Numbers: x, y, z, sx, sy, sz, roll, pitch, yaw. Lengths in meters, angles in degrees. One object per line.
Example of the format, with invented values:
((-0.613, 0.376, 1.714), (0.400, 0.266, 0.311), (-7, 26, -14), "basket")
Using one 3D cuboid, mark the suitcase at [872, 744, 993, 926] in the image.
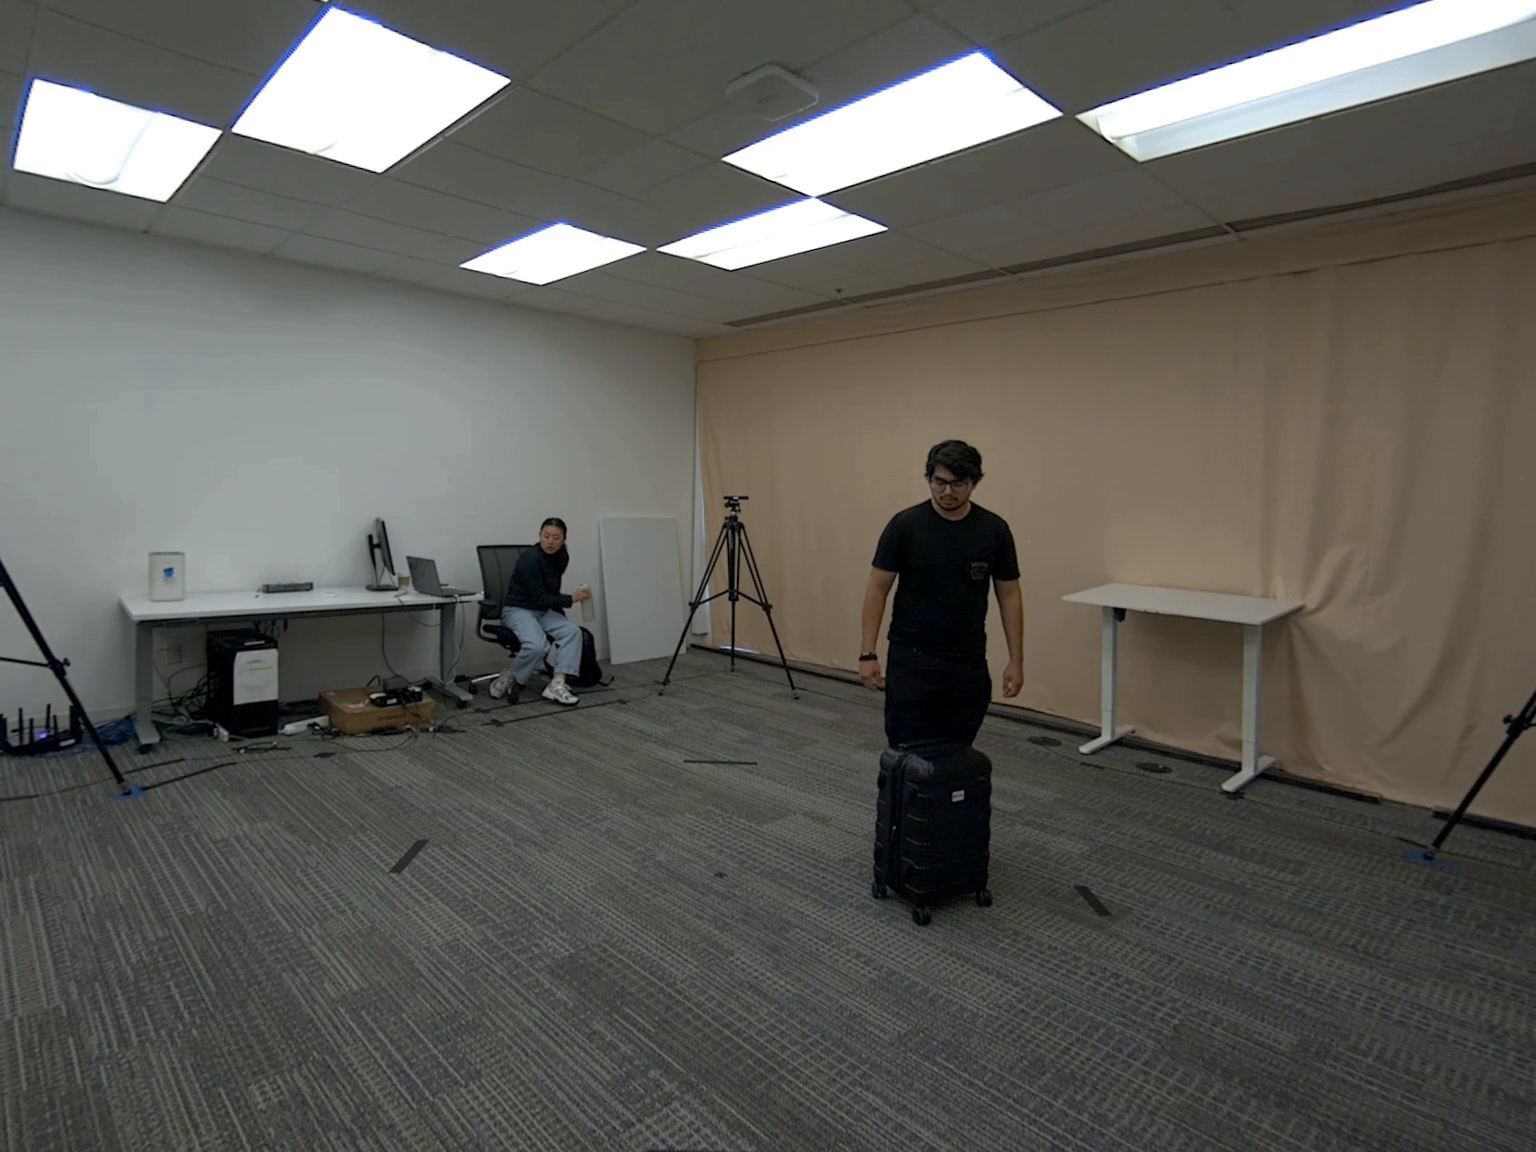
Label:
((0.578, 0.862, 2.942), (0.367, 0.549, 0.254), (1, 2, -32), "suitcase")
